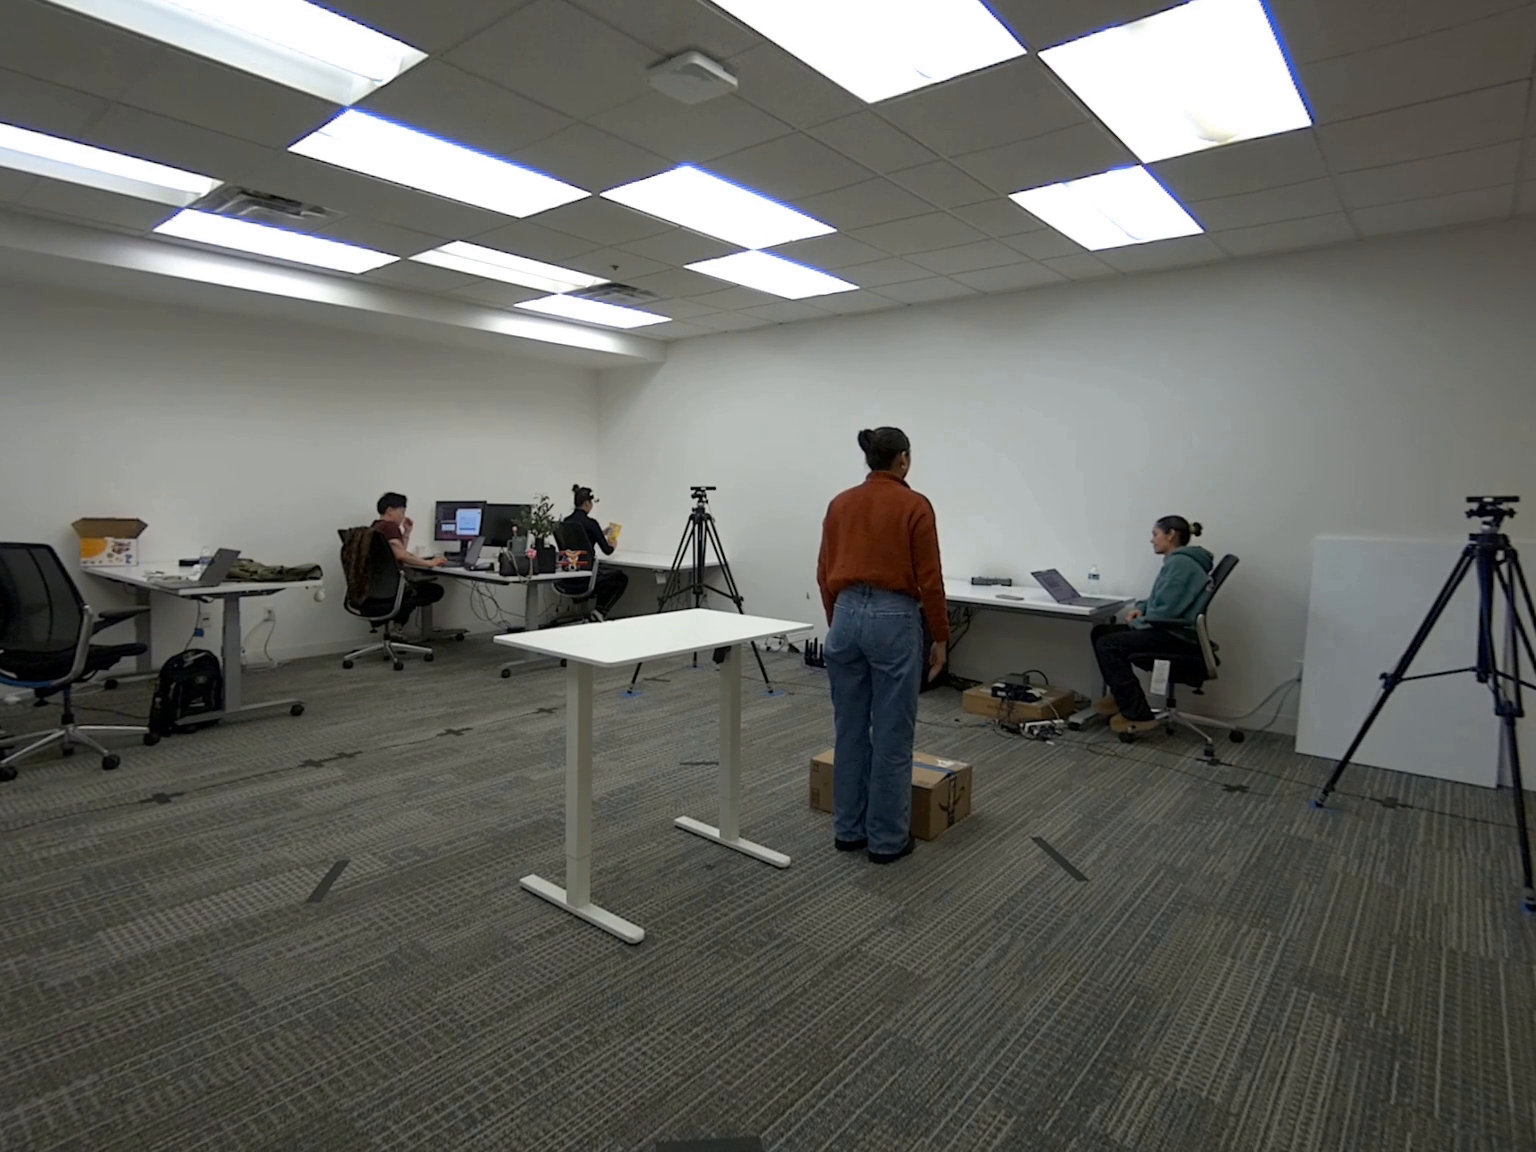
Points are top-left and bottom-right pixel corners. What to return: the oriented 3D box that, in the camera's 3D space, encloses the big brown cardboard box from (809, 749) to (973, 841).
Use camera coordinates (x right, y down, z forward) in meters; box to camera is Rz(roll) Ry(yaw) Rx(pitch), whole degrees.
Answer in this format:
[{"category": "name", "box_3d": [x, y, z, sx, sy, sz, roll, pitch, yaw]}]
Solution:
[{"category": "big brown cardboard box", "box_3d": [0.529, 0.906, 3.708, 0.608, 0.232, 0.406, 4, 6, 36]}]
